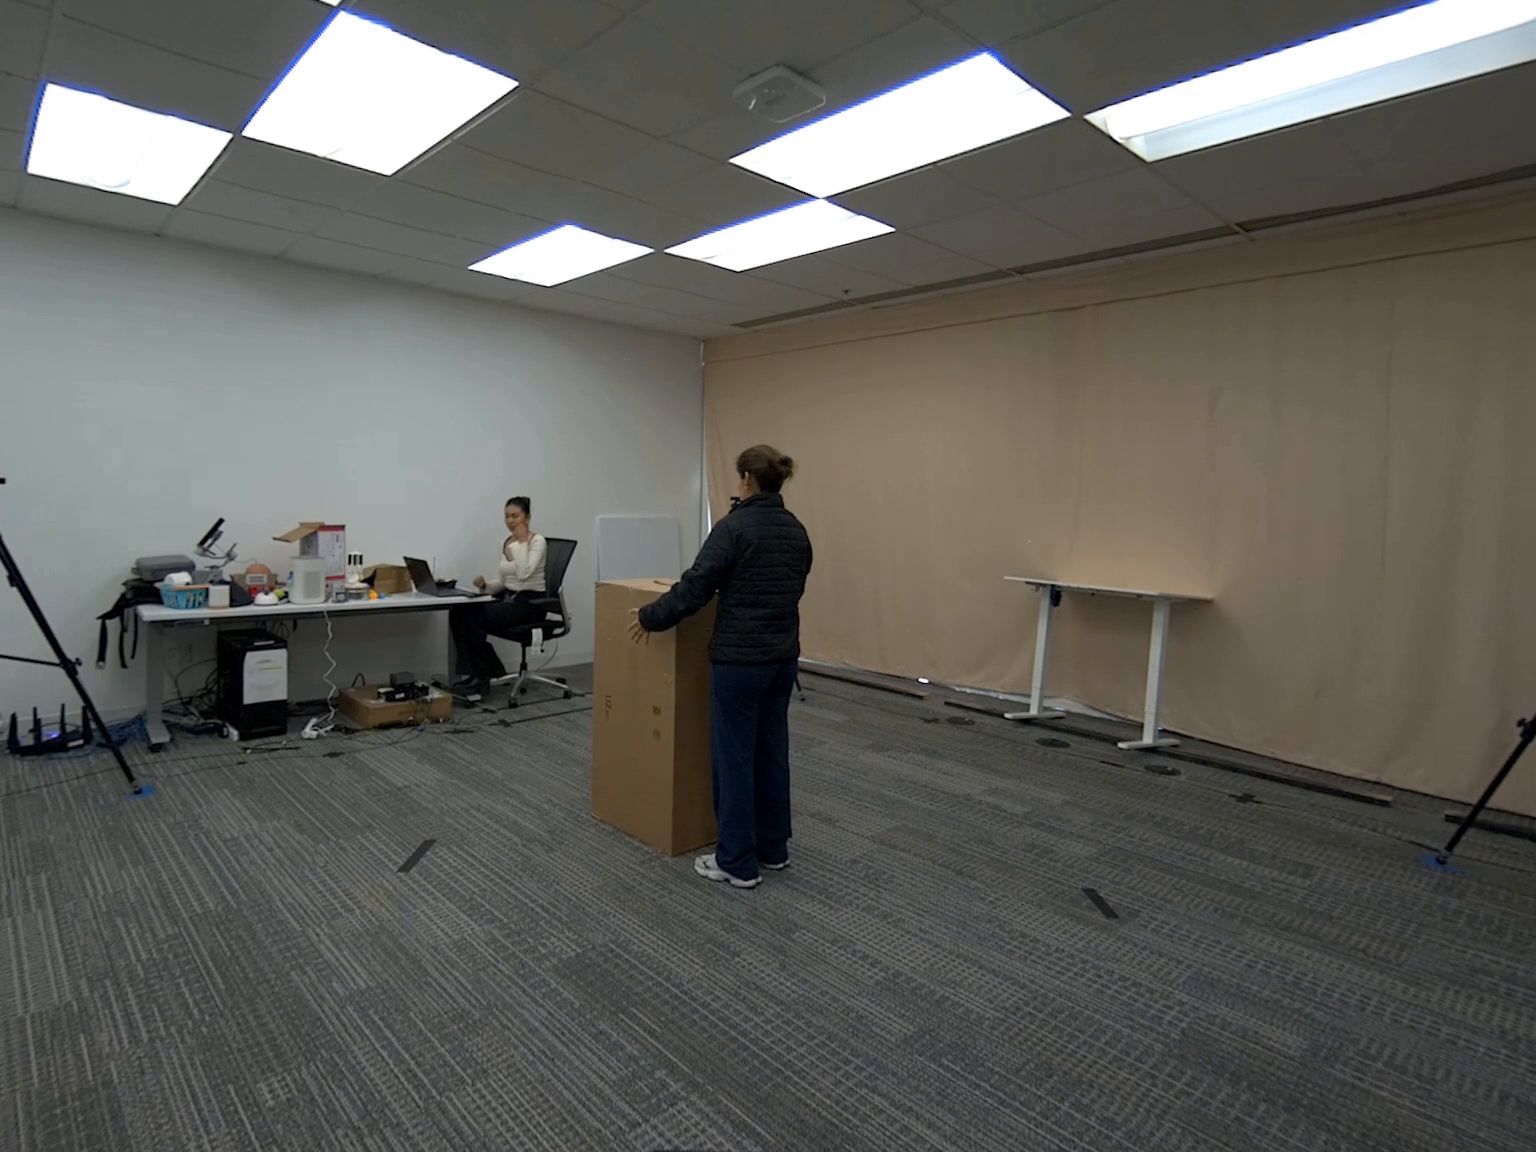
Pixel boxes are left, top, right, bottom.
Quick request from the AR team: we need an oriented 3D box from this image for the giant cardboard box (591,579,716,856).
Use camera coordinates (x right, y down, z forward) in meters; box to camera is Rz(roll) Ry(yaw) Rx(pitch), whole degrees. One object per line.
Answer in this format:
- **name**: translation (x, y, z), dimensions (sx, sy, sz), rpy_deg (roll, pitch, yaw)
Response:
- **giant cardboard box**: translation (-0.418, 0.552, 3.572), dimensions (0.416, 1.023, 0.592), rpy_deg (-1, 5, -44)
